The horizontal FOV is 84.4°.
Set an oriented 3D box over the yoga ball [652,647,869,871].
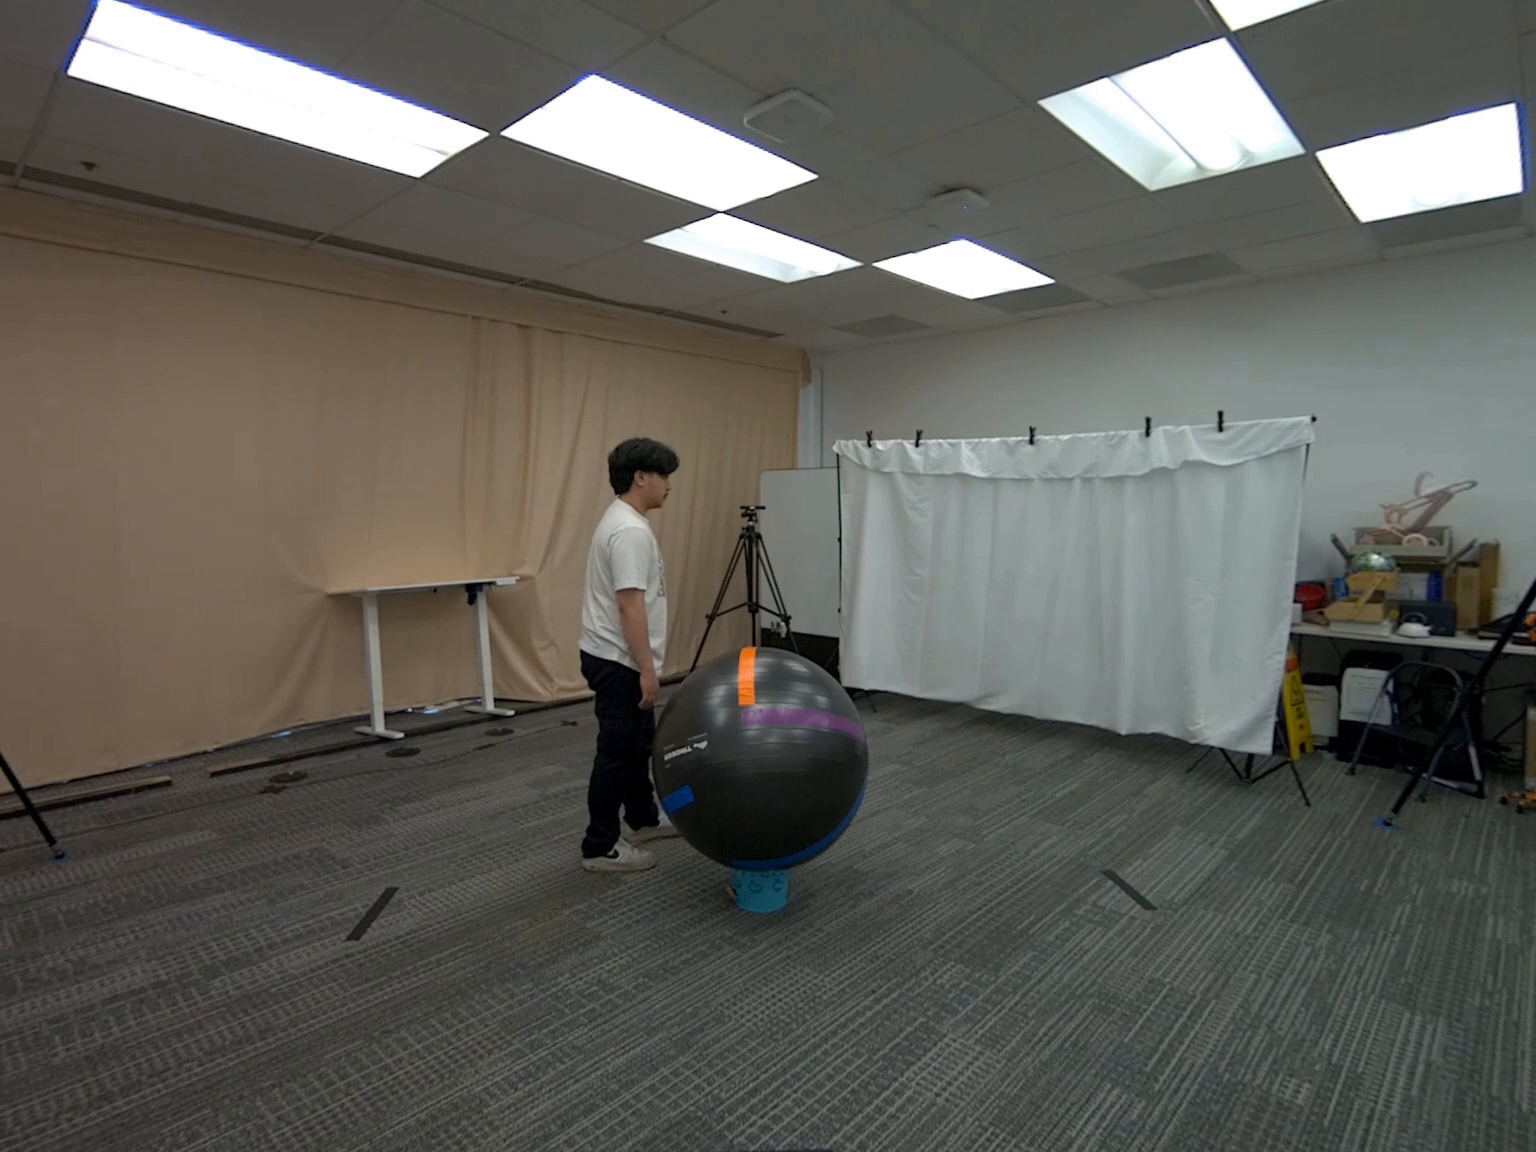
[{"bbox_3d":[-0.029,0.638,2.950,0.757,0.756,0.761,0,4,-2],"label":"yoga ball"}]
